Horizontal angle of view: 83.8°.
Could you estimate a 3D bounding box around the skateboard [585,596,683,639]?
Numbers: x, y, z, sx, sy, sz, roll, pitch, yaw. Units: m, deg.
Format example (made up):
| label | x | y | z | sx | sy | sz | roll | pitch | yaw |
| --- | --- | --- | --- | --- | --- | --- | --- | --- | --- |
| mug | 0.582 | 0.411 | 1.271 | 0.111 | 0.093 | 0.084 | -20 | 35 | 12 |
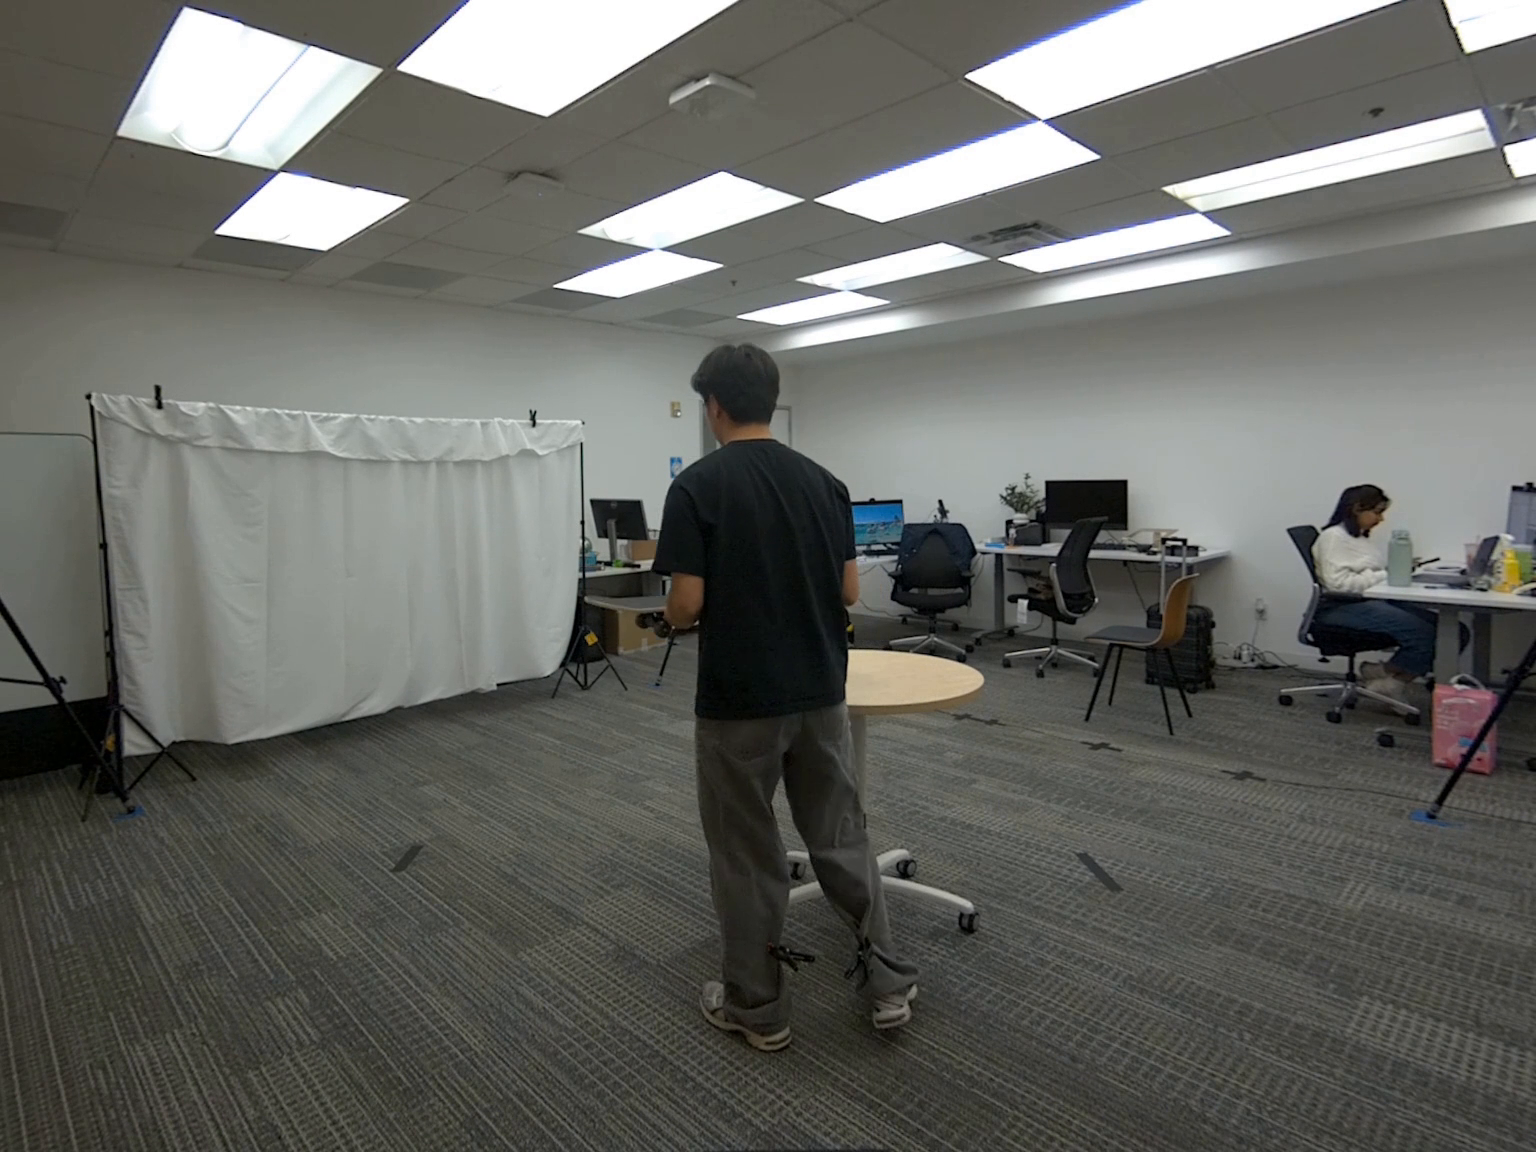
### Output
| label | x | y | z | sx | sy | sz | roll | pitch | yaw |
| --- | --- | --- | --- | --- | --- | --- | --- | --- | --- |
| skateboard | -0.173 | 0.111 | 2.511 | 0.768 | 0.110 | 0.198 | -1 | 4 | -27 |
